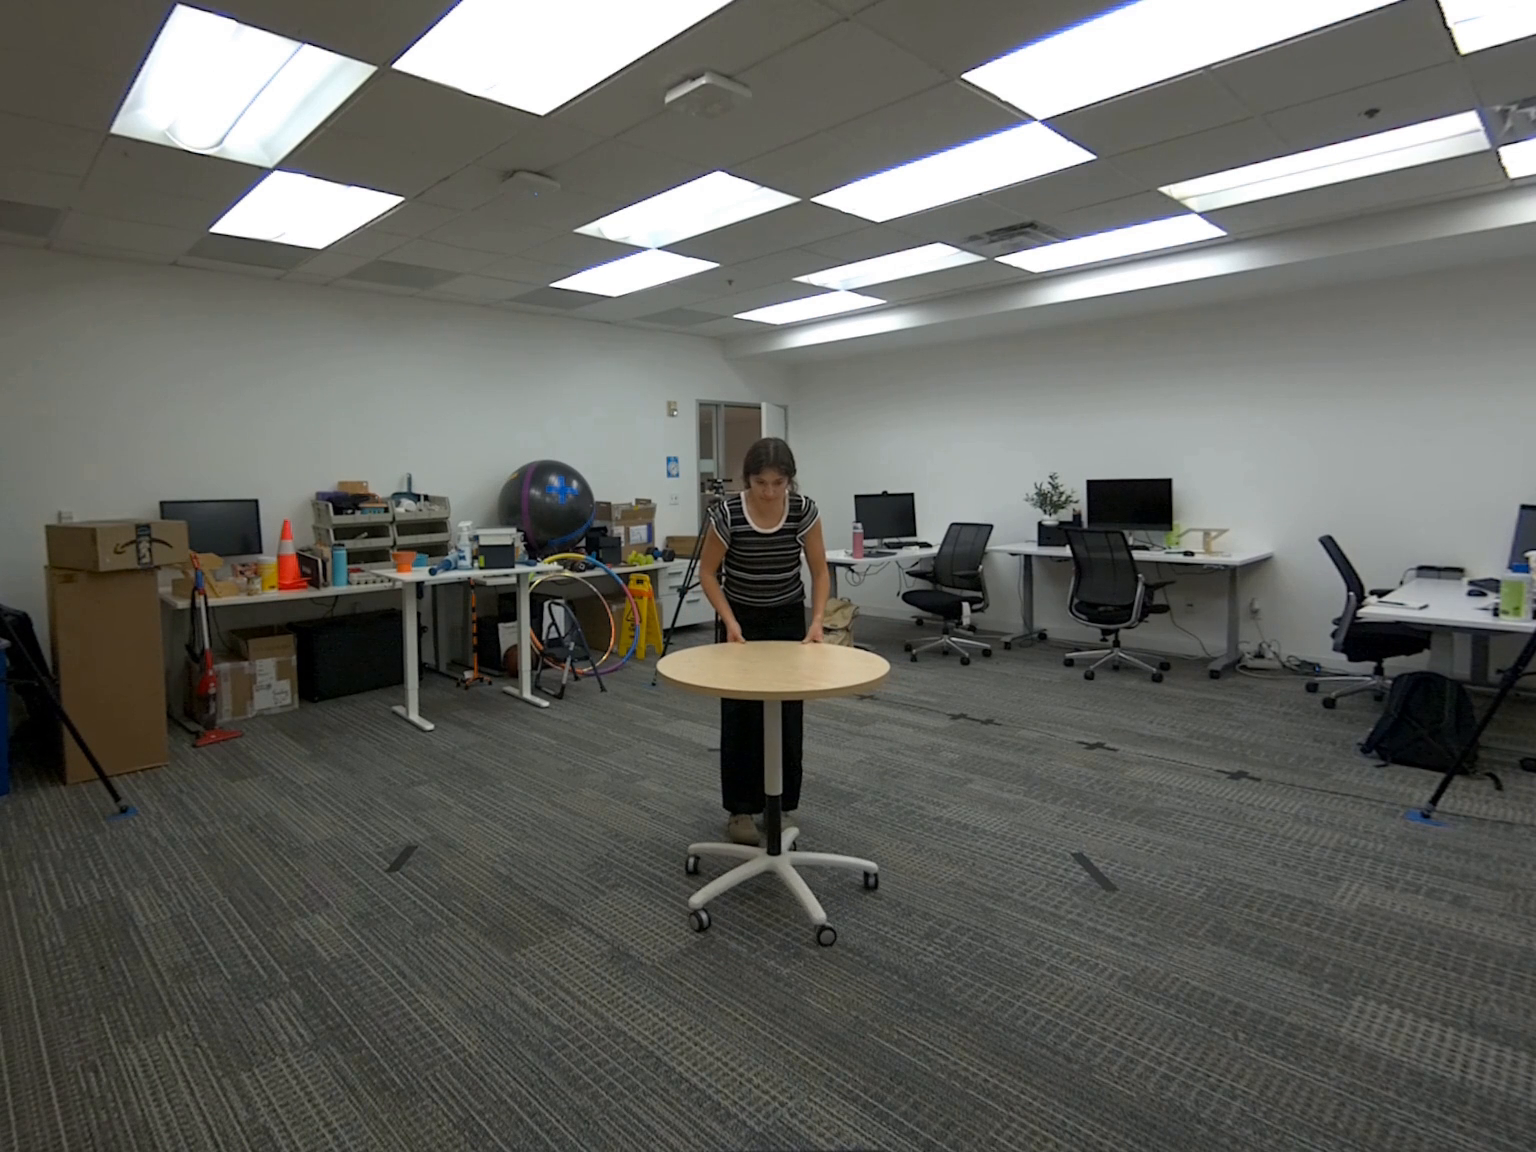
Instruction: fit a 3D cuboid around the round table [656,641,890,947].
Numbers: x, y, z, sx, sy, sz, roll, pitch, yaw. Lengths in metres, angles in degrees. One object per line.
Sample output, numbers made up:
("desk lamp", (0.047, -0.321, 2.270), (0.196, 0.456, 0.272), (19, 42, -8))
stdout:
("round table", (0.020, 0.682, 2.832), (0.784, 0.784, 0.789), (-1, 4, -2))
